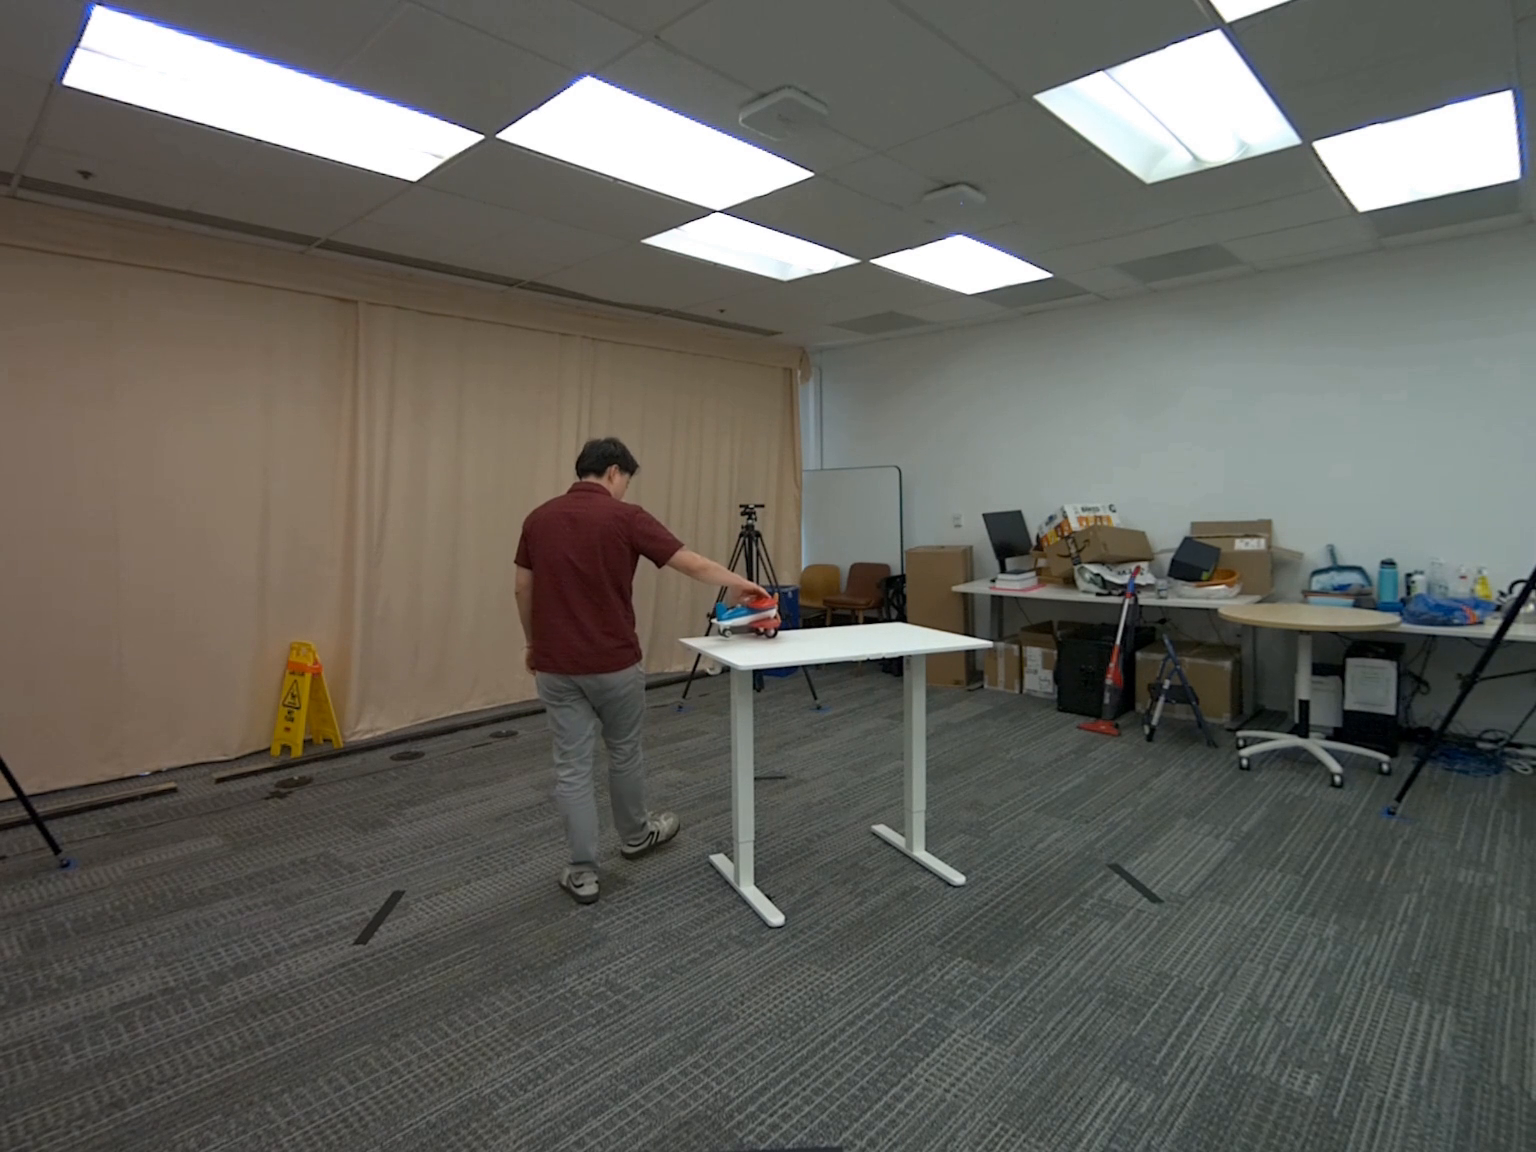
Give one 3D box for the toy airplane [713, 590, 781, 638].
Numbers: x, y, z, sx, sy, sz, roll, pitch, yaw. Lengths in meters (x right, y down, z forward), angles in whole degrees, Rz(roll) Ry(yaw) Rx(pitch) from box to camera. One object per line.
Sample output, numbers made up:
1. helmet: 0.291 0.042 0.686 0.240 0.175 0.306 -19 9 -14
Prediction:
1. toy airplane: -0.067 0.158 3.192 0.259 0.156 0.251 5 2 35
